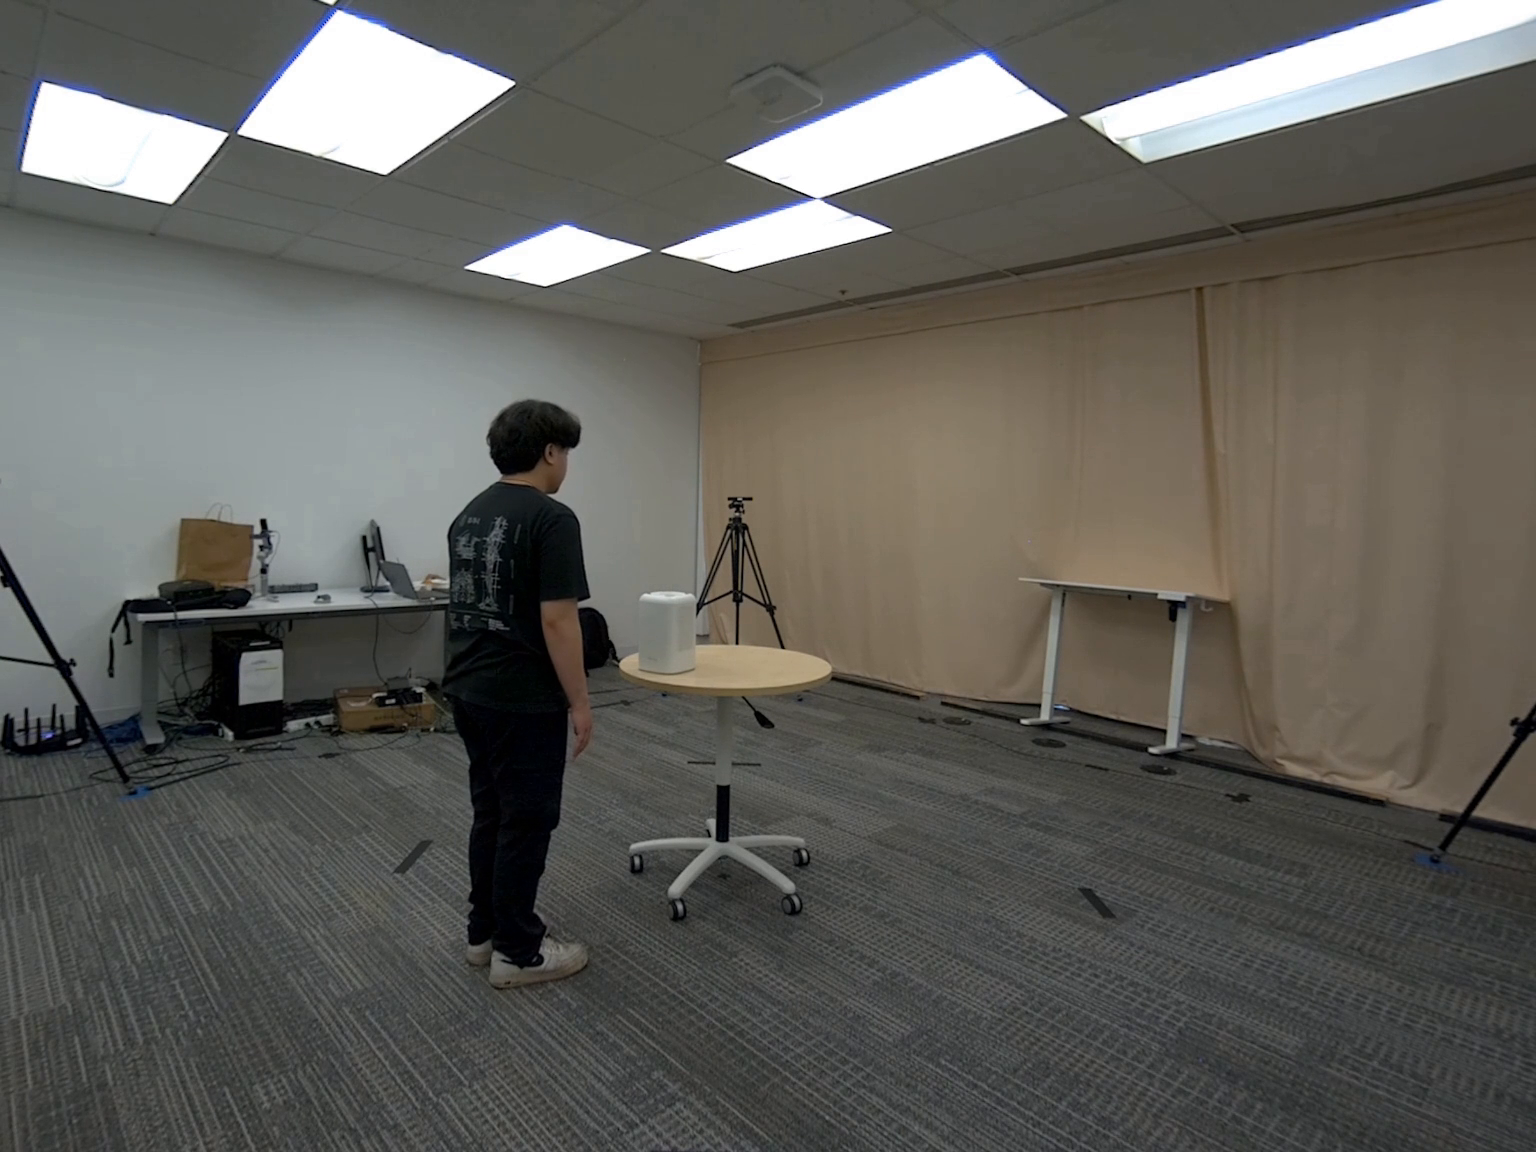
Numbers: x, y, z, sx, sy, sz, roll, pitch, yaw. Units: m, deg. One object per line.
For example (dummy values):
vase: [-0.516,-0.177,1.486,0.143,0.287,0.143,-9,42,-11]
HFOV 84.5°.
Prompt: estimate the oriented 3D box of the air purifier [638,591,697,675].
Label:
air purifier: [-0.358,0.193,2.933,0.175,0.264,0.168,4,6,33]
